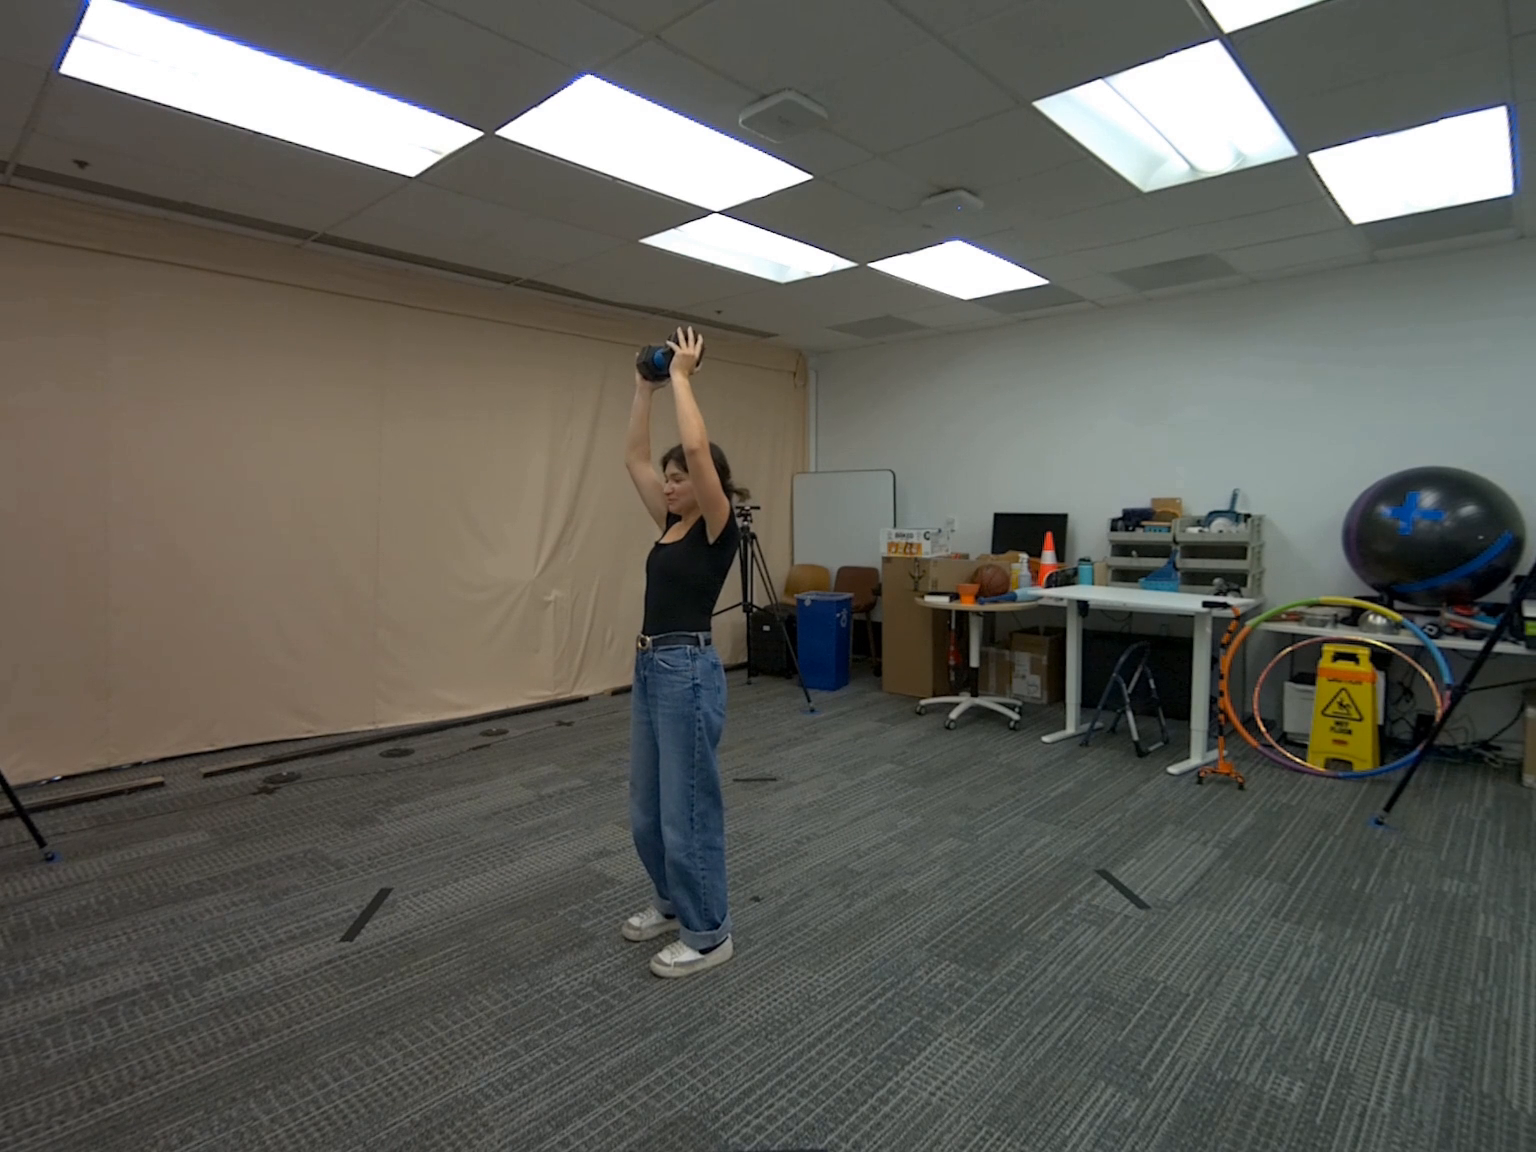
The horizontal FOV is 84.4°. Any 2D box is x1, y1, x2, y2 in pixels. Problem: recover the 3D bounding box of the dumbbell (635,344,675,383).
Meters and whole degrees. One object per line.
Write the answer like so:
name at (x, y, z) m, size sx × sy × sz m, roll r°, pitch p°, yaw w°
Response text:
dumbbell at (-0.303, -0.674, 2.603) m, size 0.108 × 0.120 × 0.302 m, roll -44°, pitch 23°, yaw -20°
